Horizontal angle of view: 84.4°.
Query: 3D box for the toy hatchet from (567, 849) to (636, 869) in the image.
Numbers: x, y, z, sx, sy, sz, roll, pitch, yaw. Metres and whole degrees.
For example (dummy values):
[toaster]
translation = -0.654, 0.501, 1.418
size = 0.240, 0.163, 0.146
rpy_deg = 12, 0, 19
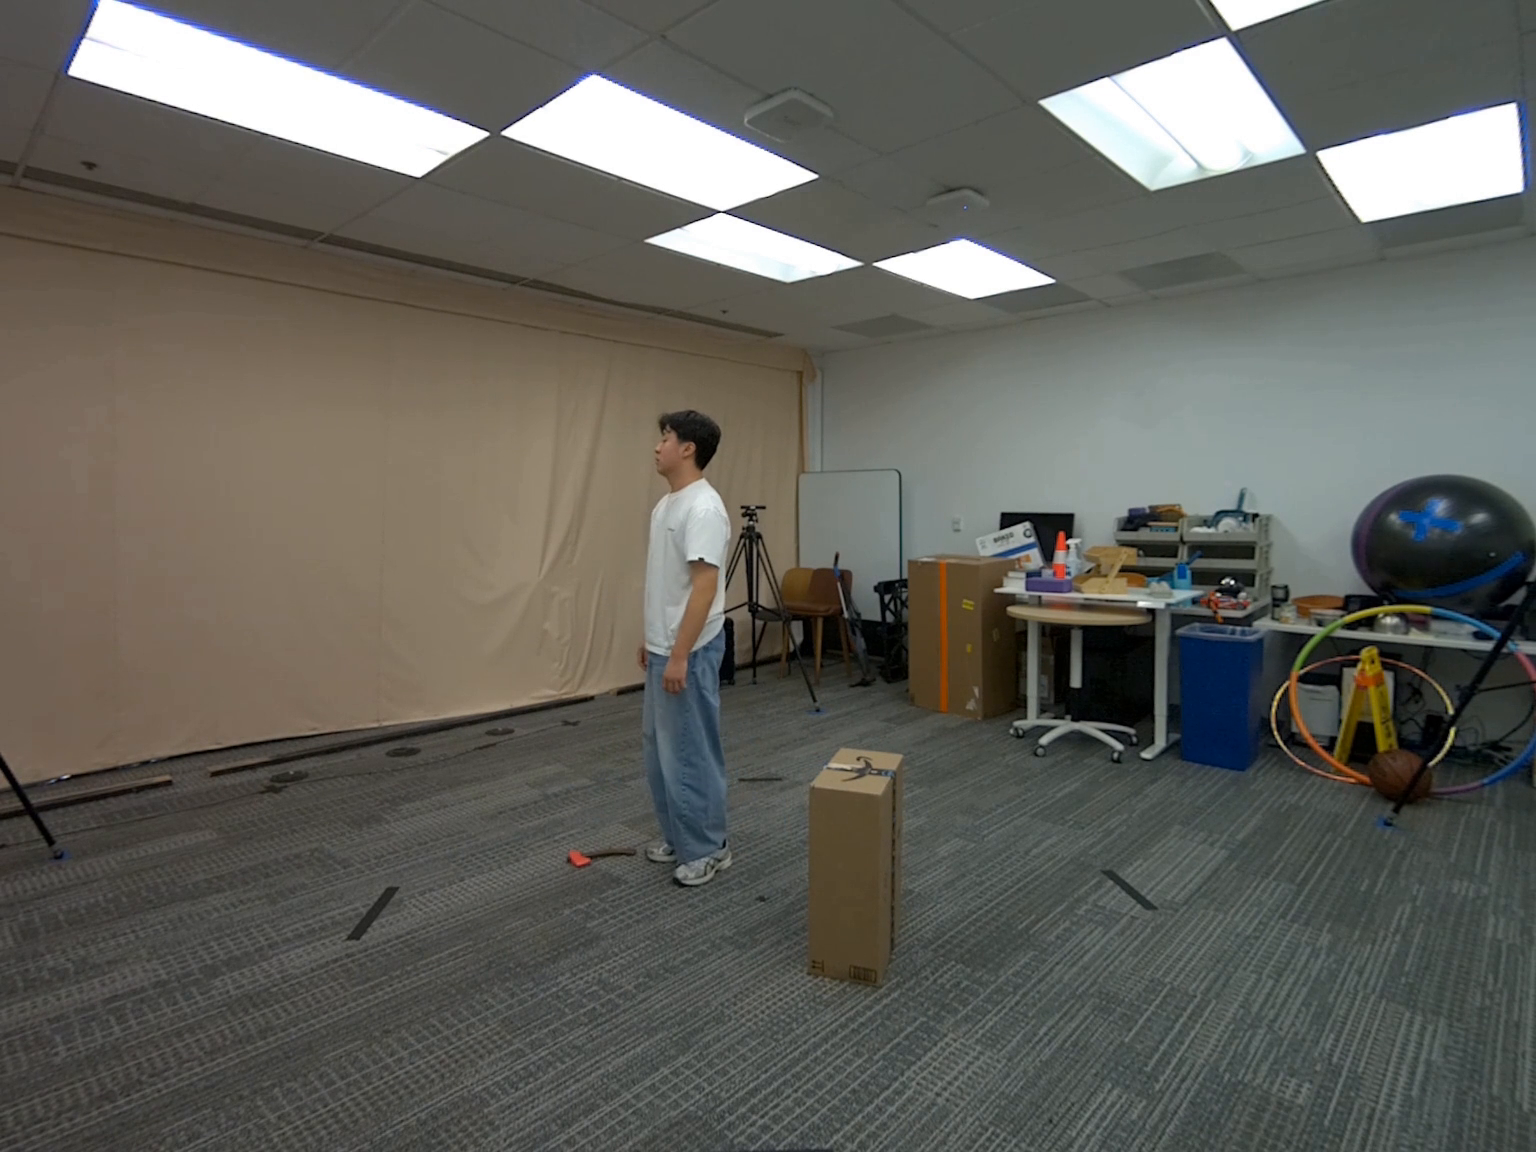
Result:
[toy hatchet]
translation = -0.658, 1.114, 3.321
size = 0.269, 0.029, 0.132
rpy_deg = 0, 4, -5
